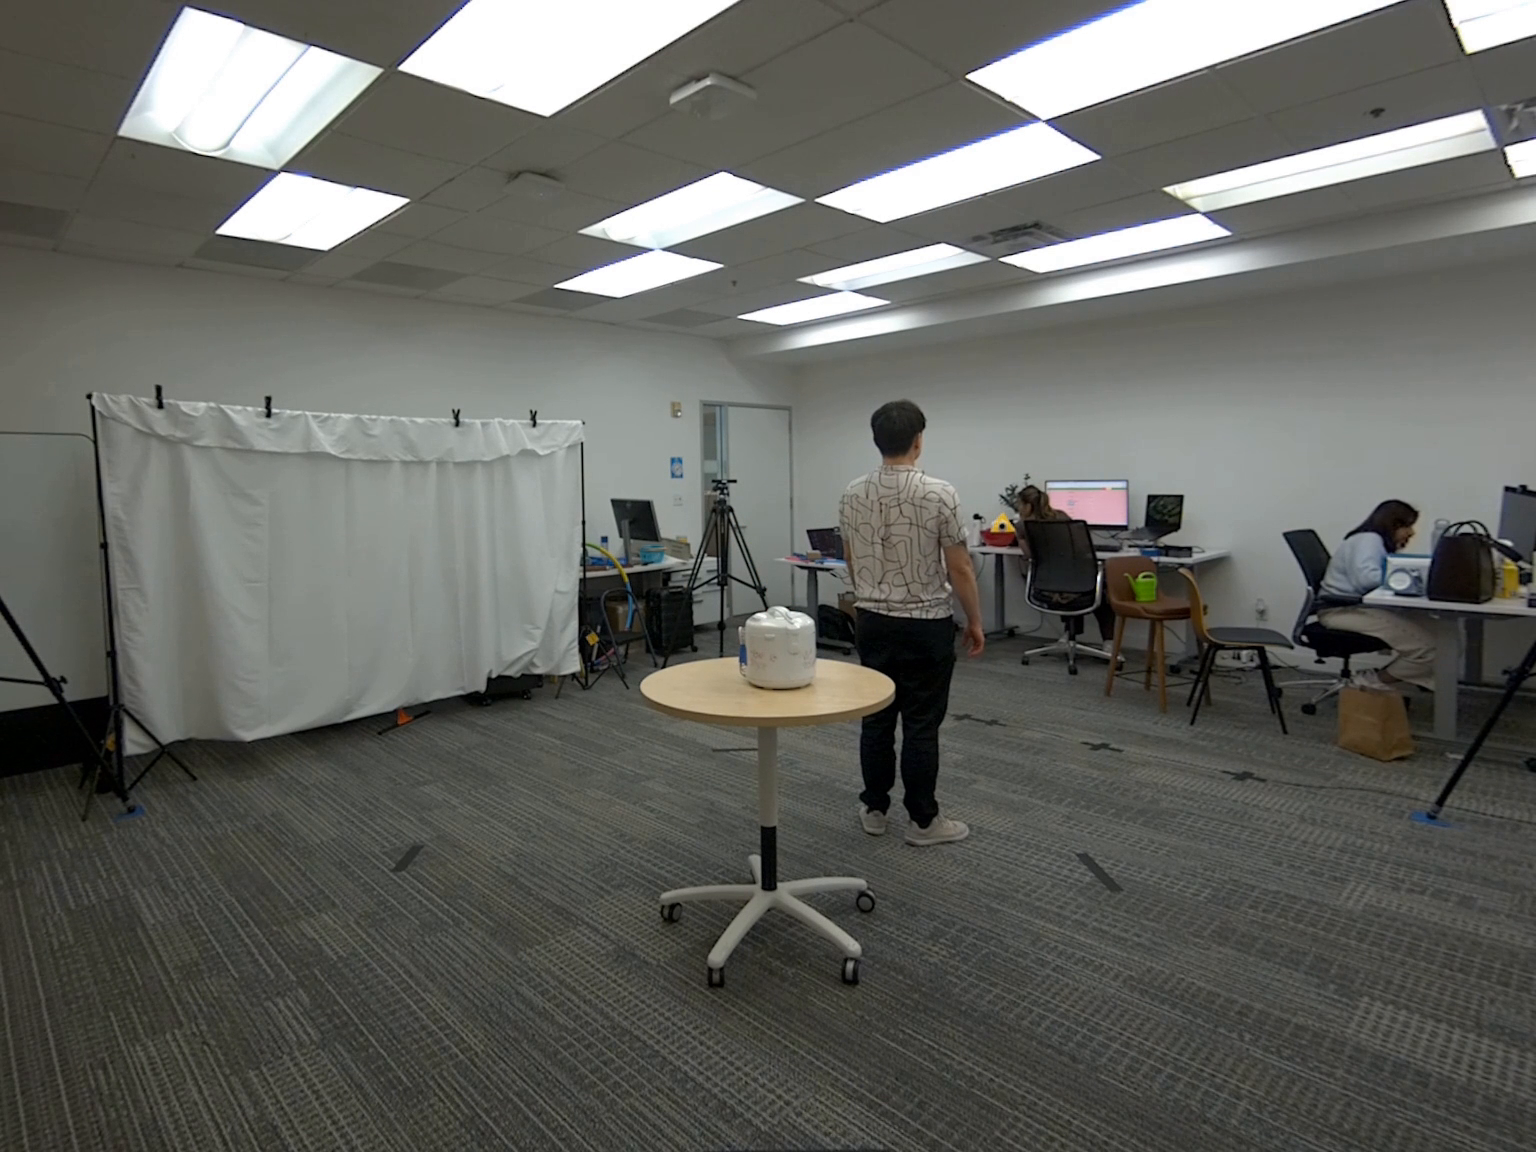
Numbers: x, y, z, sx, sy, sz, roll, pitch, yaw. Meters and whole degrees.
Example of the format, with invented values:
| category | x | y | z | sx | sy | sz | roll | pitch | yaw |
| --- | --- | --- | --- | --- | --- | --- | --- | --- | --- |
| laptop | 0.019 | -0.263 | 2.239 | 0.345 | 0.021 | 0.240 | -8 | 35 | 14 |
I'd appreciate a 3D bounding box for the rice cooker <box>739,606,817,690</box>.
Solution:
| category | x | y | z | sx | sy | sz | roll | pitch | yaw |
| --- | --- | --- | --- | --- | --- | --- | --- | --- | --- |
| rice cooker | 0.039 | 0.207 | 2.571 | 0.214 | 0.231 | 0.225 | -3 | 6 | -19 |
